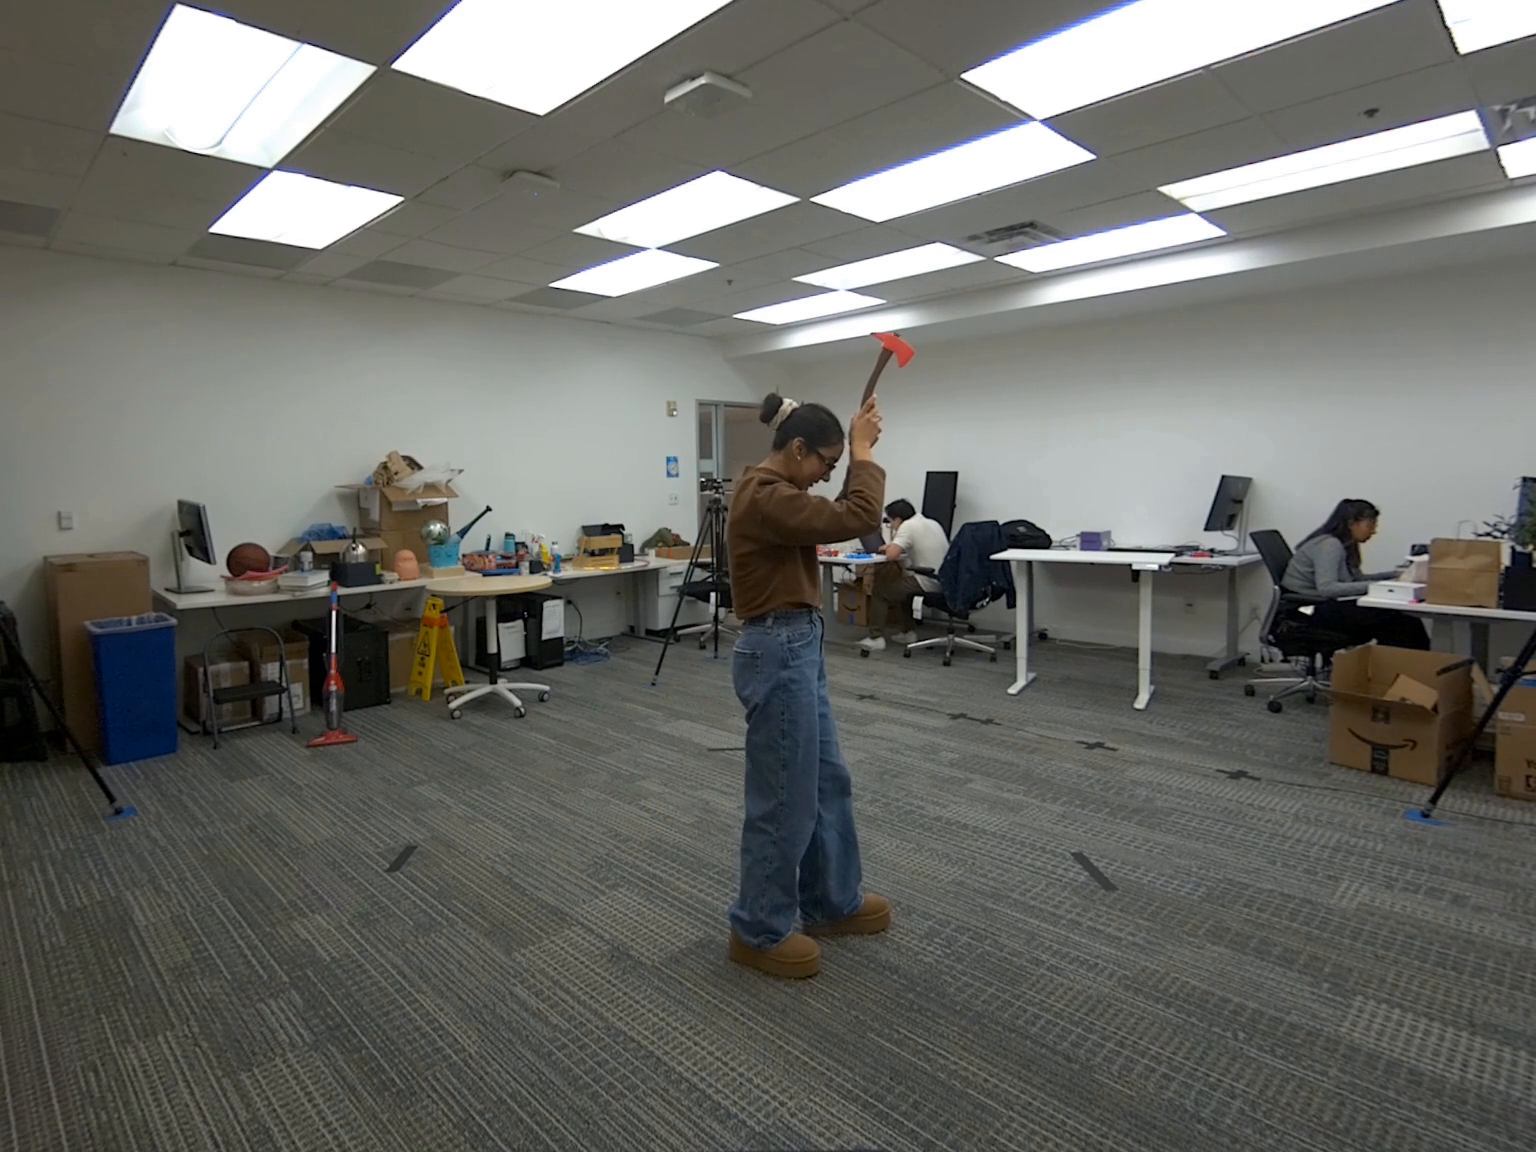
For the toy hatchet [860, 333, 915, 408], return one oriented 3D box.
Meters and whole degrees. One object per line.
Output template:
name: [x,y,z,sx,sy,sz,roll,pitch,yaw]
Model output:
toy hatchet: [0.332,-0.555,2.400,0.131,0.269,0.030,9,6,-1]
